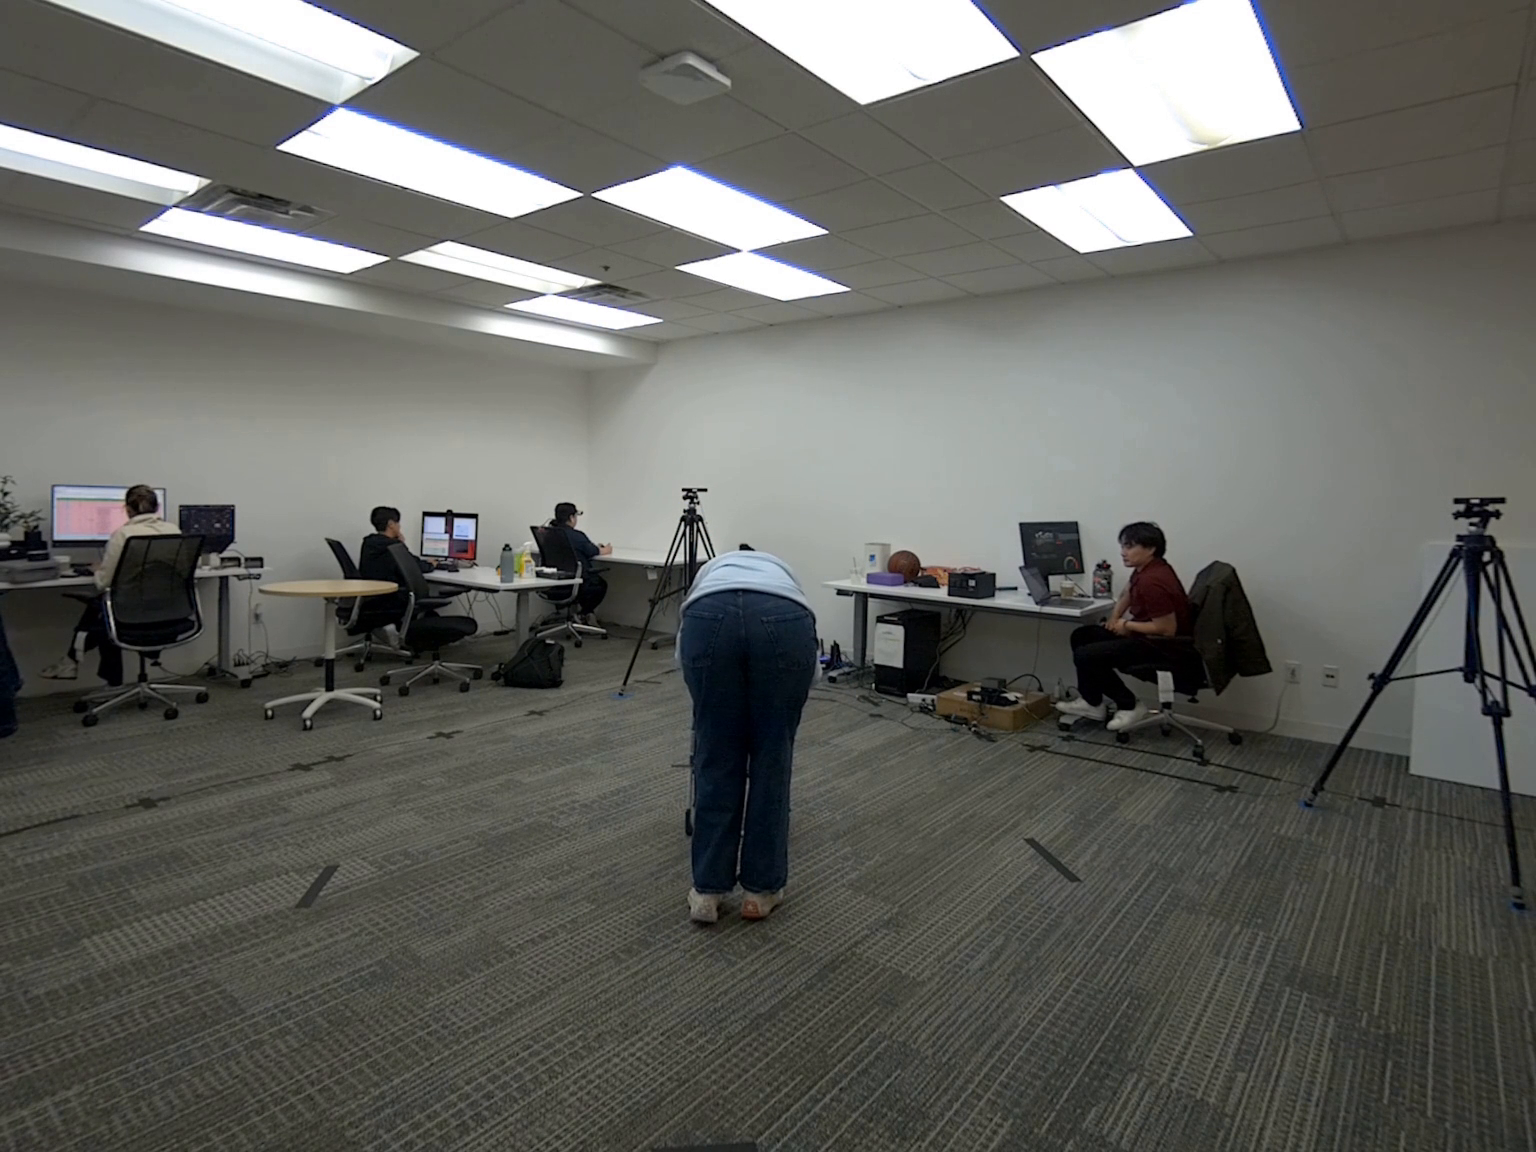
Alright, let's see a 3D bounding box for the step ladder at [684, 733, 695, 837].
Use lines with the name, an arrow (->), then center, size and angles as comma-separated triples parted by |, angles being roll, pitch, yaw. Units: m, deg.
step ladder -> -0.123, 0.722, 3.548 | 0.433, 0.604, 0.348 | 1, 3, 4
